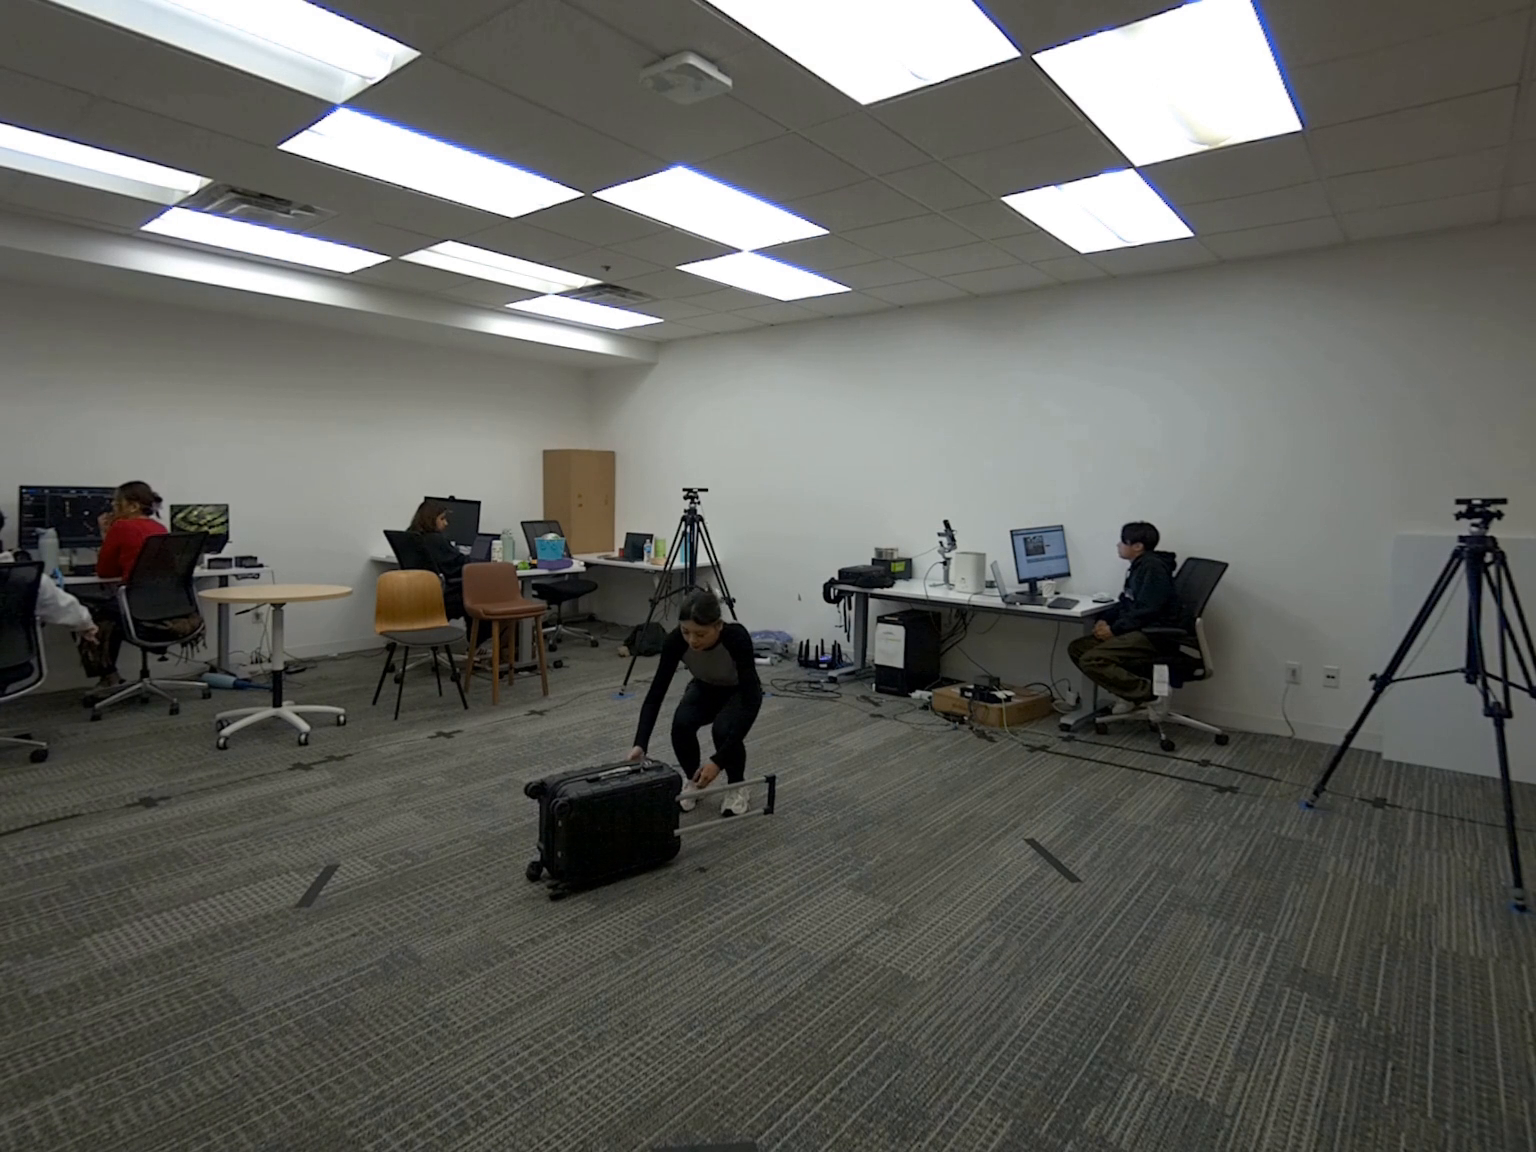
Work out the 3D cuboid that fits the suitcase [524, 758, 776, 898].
[{"bbox_3d":[-0.433,0.874,3.200,0.950,0.382,0.266,-3,6,-39],"label":"suitcase"}]
